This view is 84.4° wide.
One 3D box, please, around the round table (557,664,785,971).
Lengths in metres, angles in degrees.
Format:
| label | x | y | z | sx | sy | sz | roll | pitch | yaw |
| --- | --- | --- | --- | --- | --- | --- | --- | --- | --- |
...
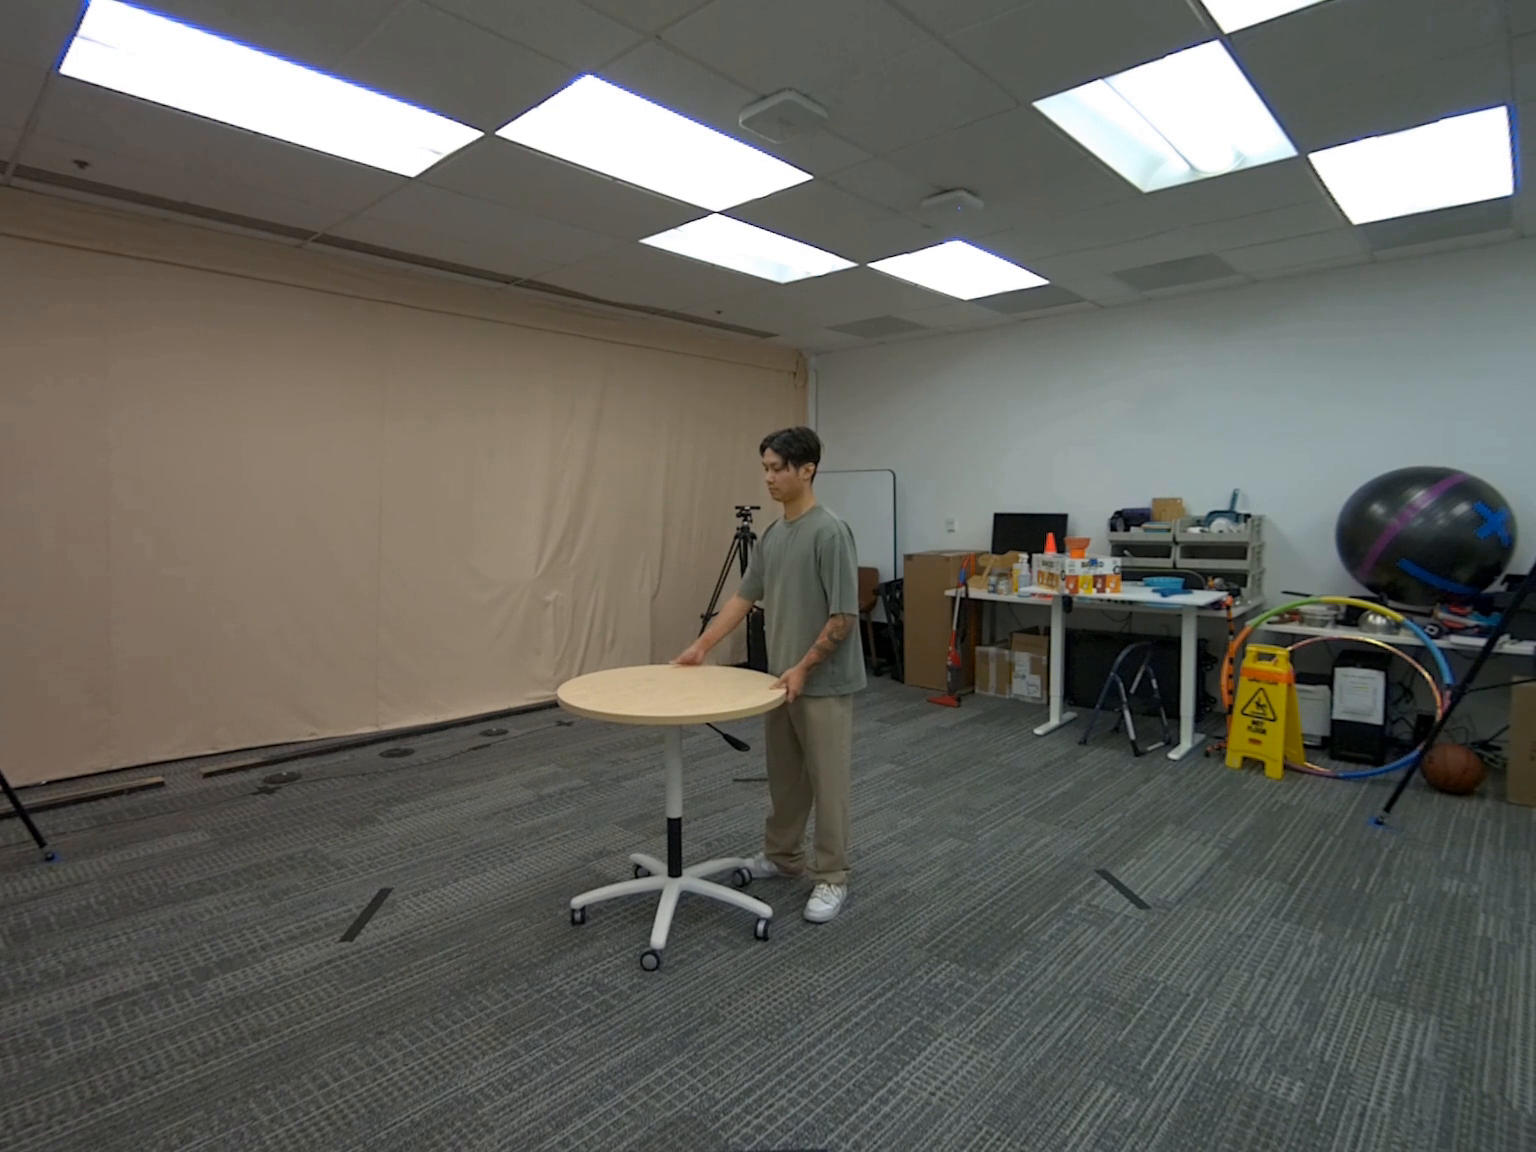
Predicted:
| label | x | y | z | sx | sy | sz | roll | pitch | yaw |
| --- | --- | --- | --- | --- | --- | --- | --- | --- | --- |
| round table | -0.320 | 0.764 | 2.864 | 0.784 | 0.784 | 0.788 | 0 | 4 | -2 |
